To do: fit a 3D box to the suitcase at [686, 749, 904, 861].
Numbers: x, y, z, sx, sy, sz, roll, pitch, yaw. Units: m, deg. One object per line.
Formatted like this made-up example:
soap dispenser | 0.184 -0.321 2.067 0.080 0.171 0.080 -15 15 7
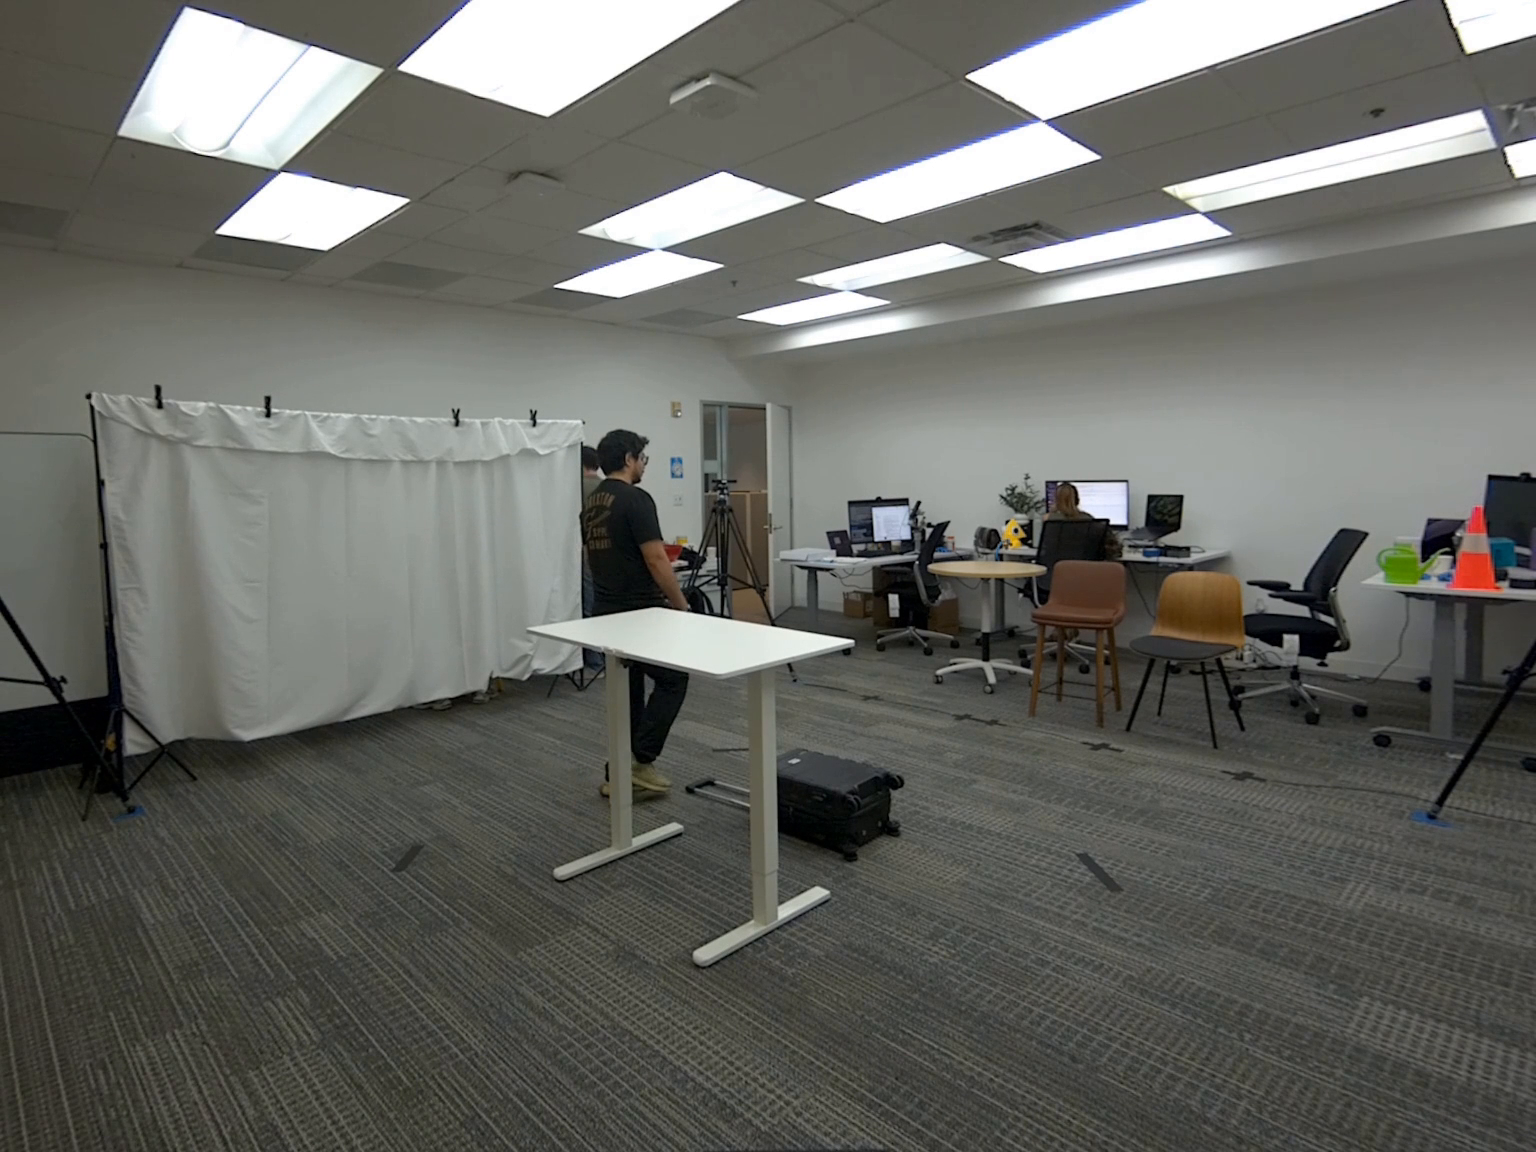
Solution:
suitcase | 0.060 0.869 3.562 1.009 0.255 0.374 6 10 41
